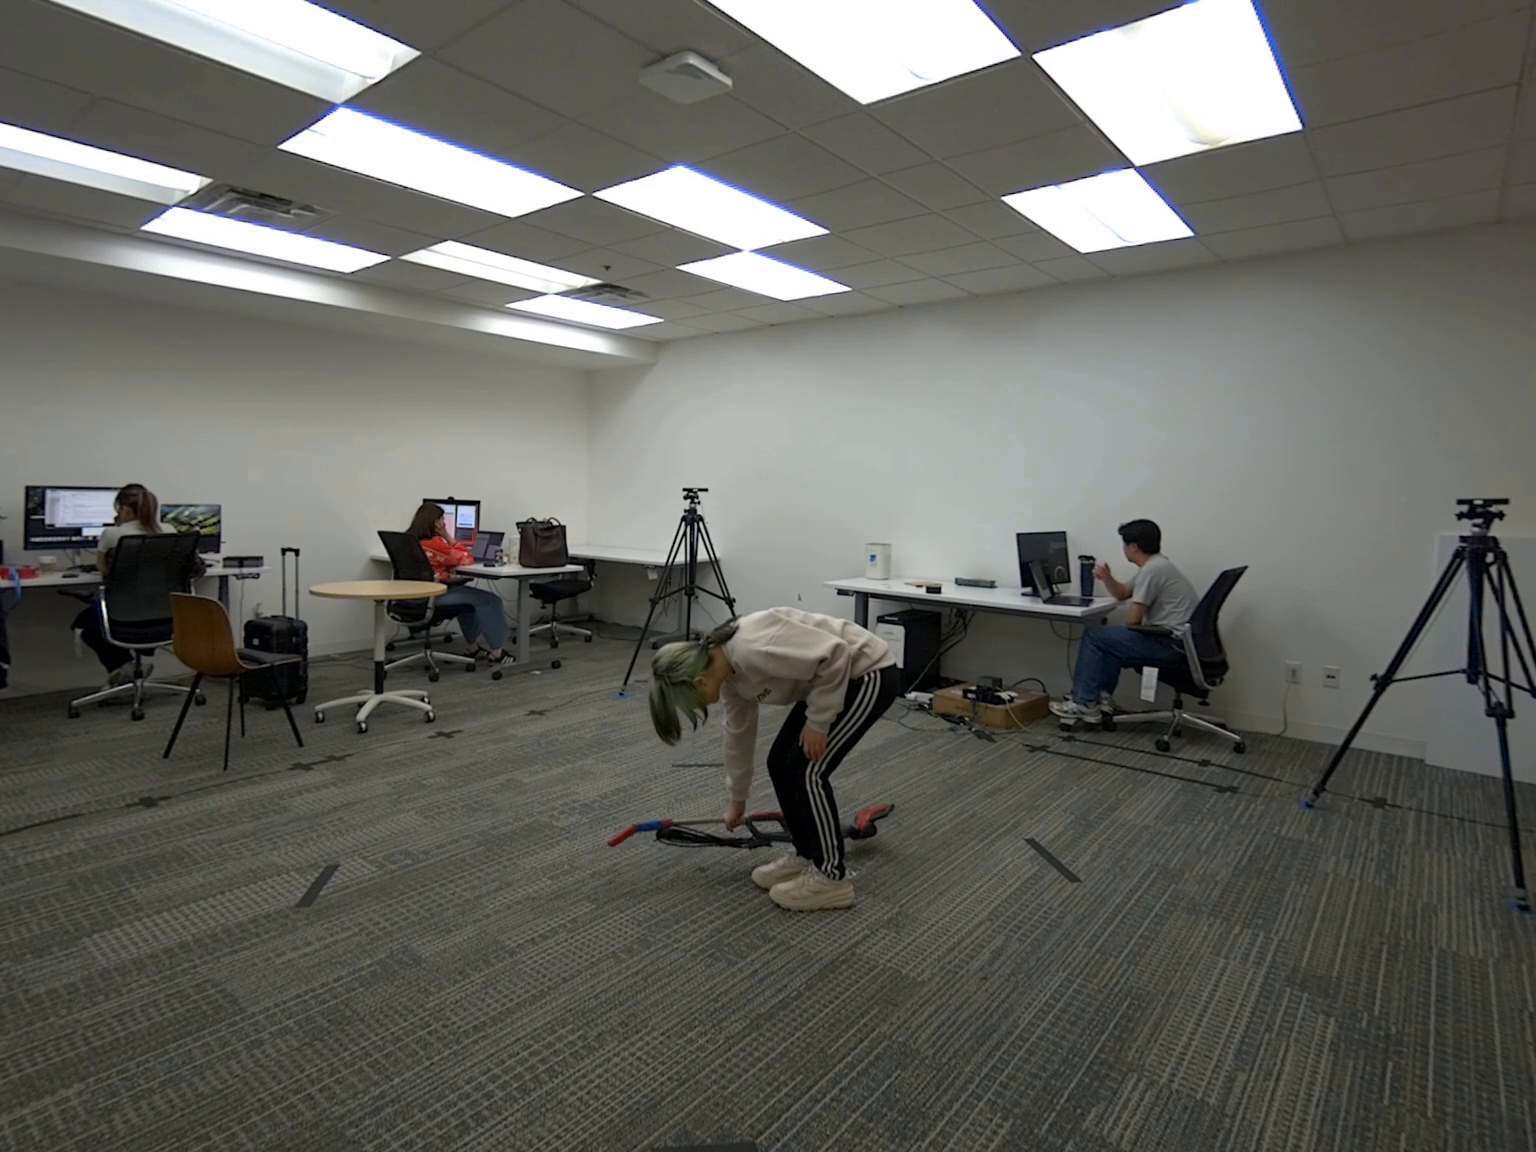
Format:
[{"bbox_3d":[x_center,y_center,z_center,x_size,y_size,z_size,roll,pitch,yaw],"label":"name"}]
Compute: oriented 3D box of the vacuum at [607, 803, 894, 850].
[{"bbox_3d":[-0.083,0.933,3.143,1.025,0.147,0.253,4,-23,-22],"label":"vacuum"}]
